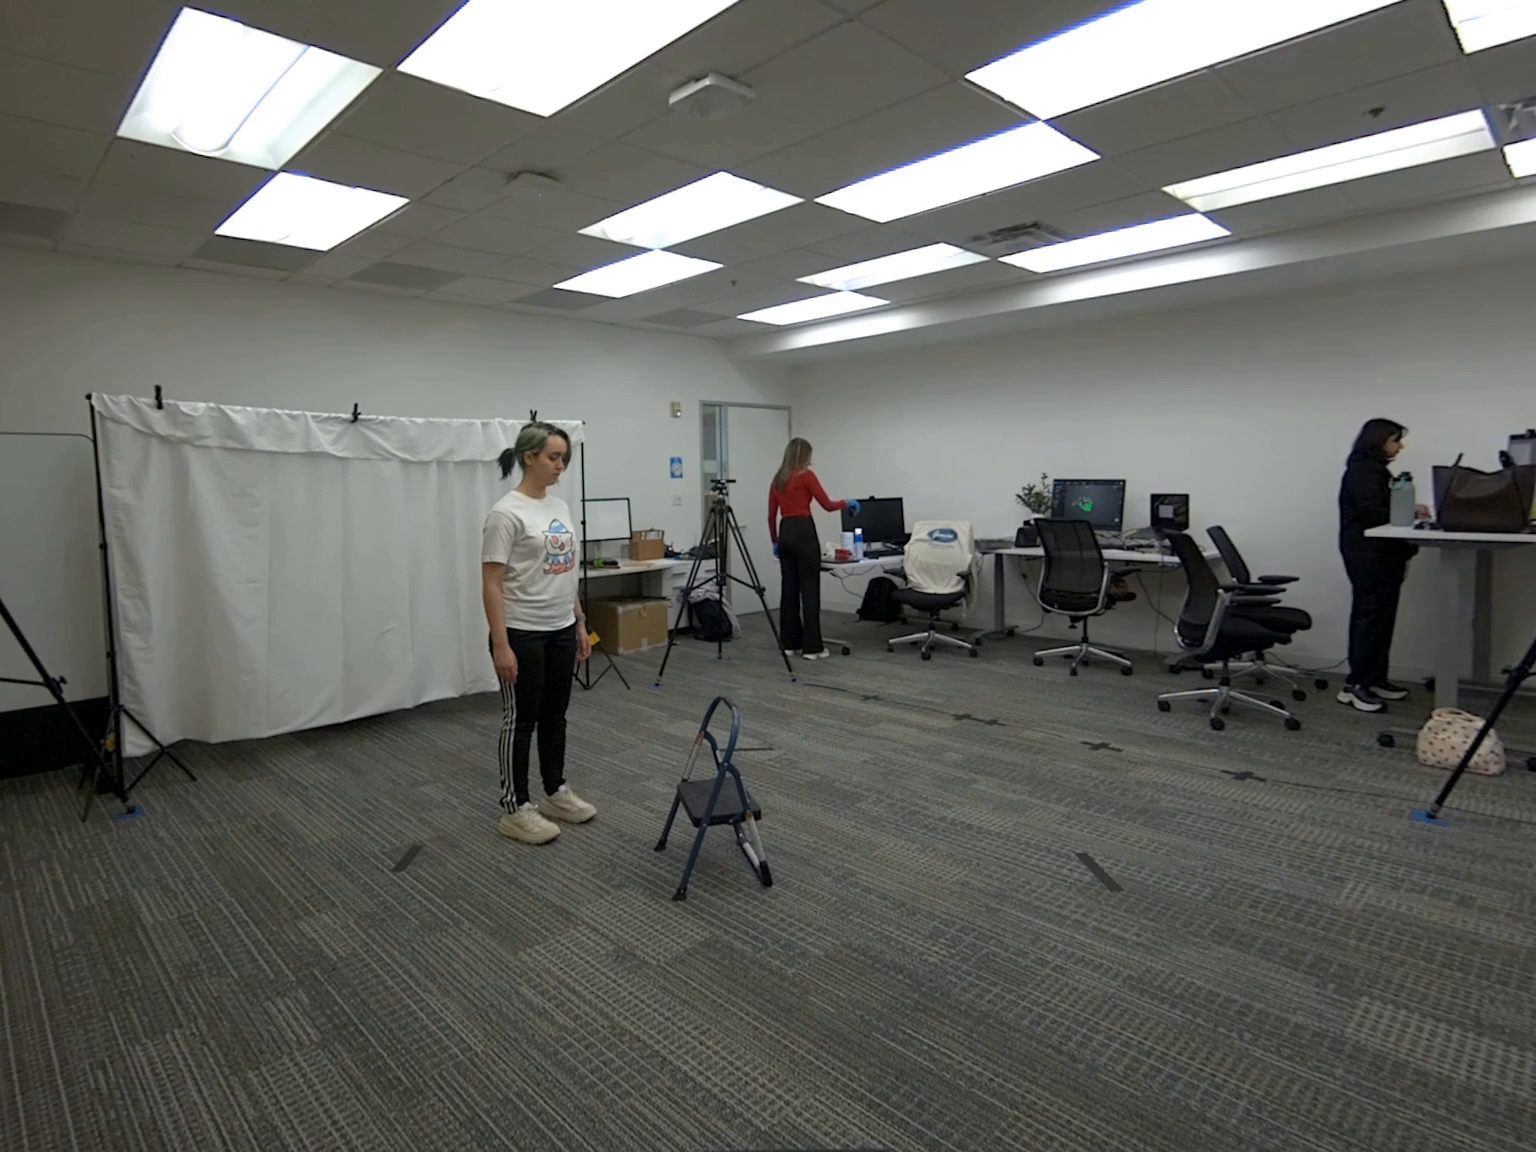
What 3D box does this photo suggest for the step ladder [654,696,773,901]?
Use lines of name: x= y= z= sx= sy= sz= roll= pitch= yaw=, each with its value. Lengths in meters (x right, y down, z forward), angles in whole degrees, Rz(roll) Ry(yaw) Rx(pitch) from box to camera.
step ladder: x=-0.207 y=0.753 z=3.069 sx=0.344 sy=0.603 sz=0.438 roll=-2 pitch=5 yaw=-16
